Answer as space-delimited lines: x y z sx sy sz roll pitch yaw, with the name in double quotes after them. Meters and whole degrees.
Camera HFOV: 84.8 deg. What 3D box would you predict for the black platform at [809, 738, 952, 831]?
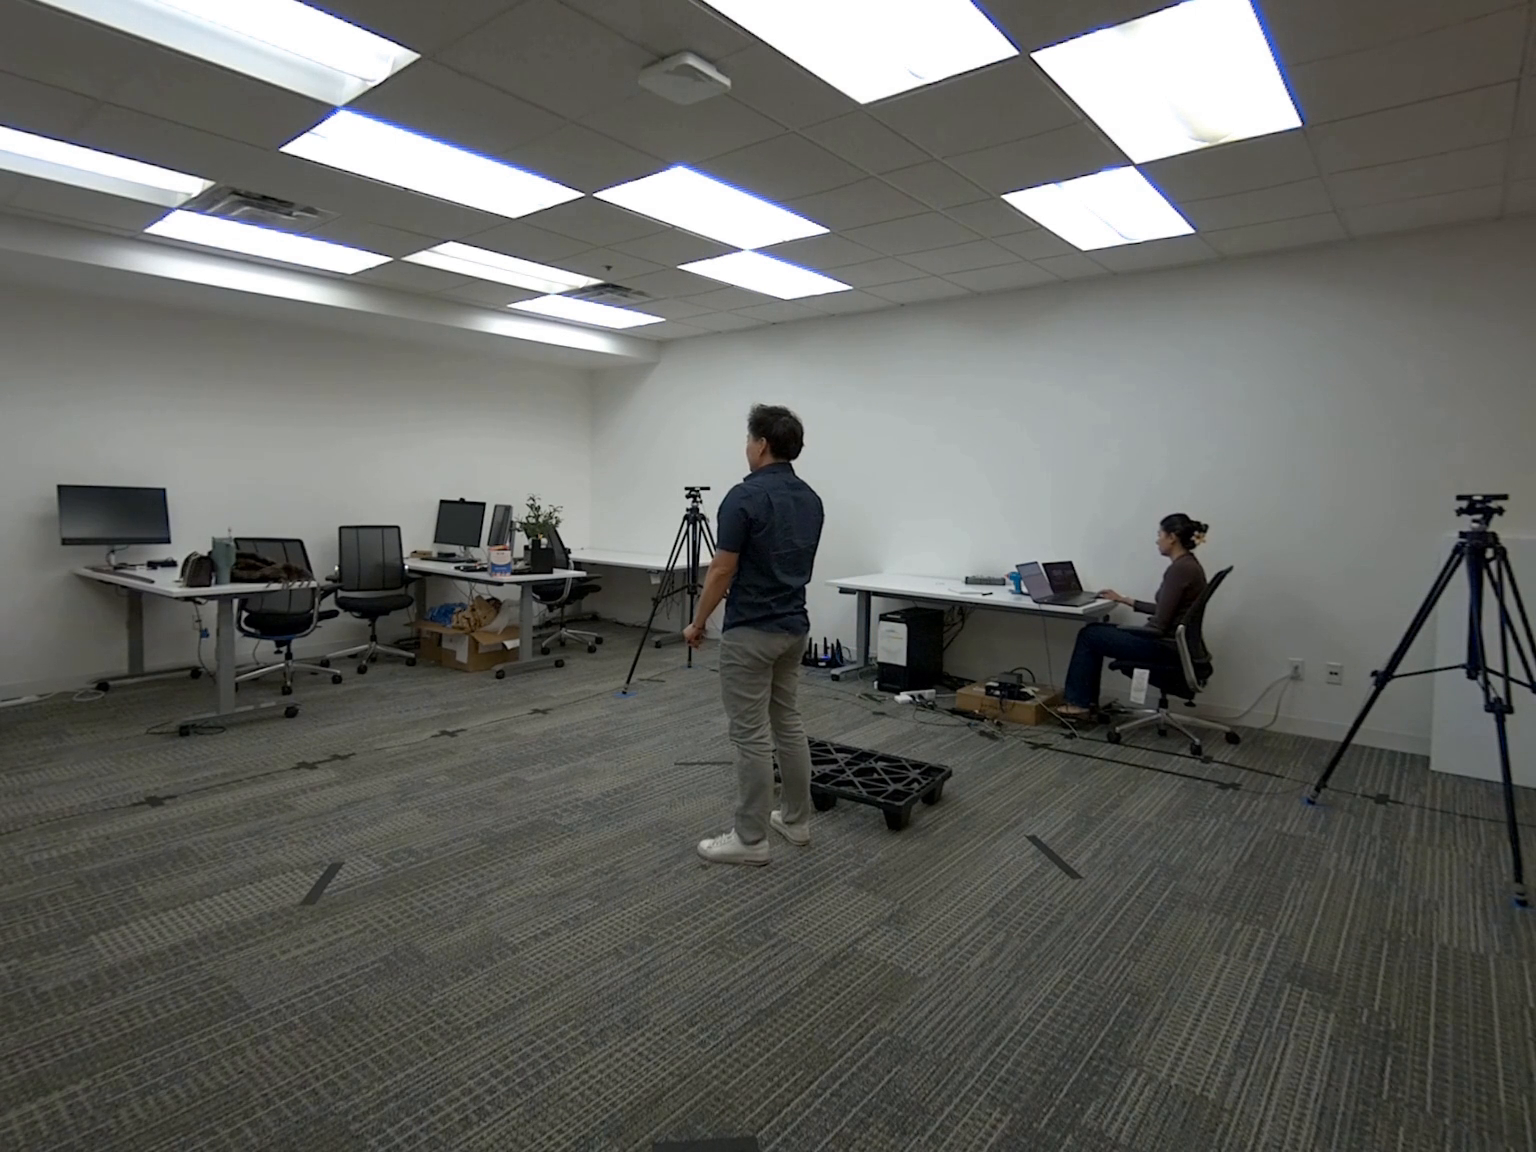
0.344 0.932 3.887 0.831 0.143 0.588 5 6 34 "black platform"
